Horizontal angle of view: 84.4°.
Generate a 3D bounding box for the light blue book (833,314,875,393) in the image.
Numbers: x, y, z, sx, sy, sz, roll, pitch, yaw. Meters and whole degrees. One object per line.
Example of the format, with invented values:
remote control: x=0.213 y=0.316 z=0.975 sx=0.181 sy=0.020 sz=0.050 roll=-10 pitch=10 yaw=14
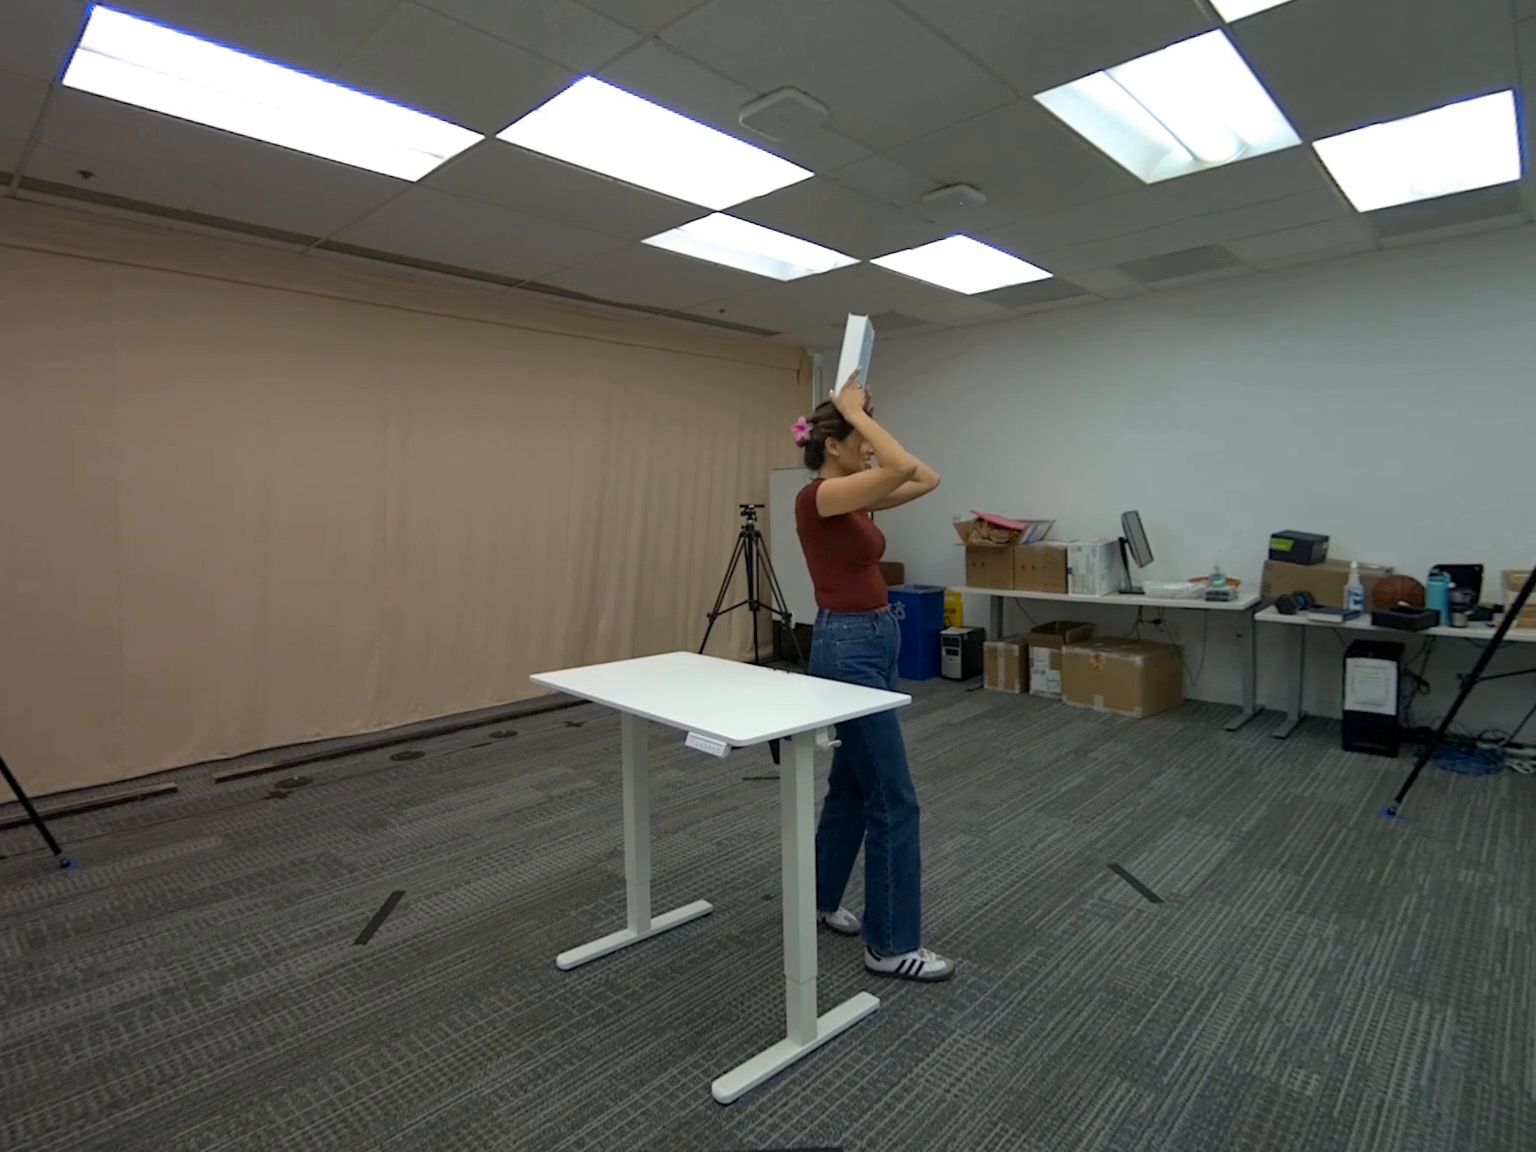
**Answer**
light blue book: x=0.273 y=-0.654 z=2.601 sx=0.060 sy=0.261 sz=0.188 roll=12 pitch=-1 yaw=12
